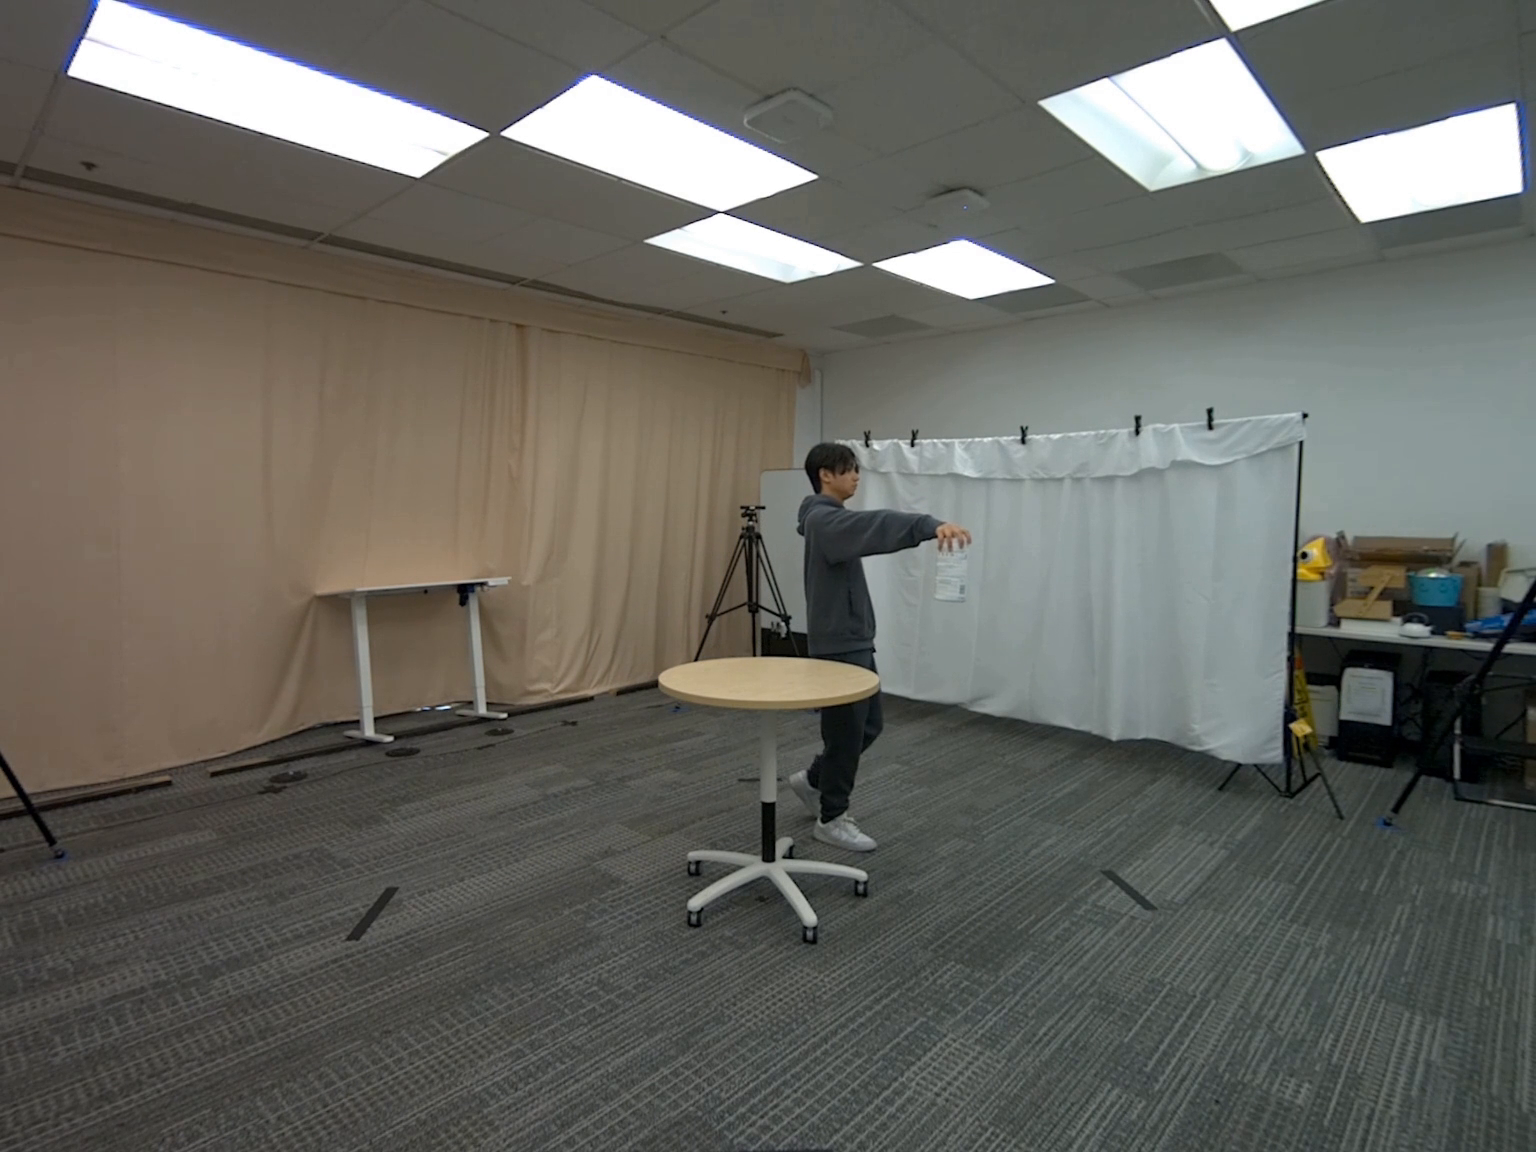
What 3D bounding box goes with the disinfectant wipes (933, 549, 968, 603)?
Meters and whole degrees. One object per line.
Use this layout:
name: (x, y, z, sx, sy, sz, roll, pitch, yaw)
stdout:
disinfectant wipes: (0.641, -0.020, 2.871, 0.117, 0.217, 0.118, 2, 3, -2)
